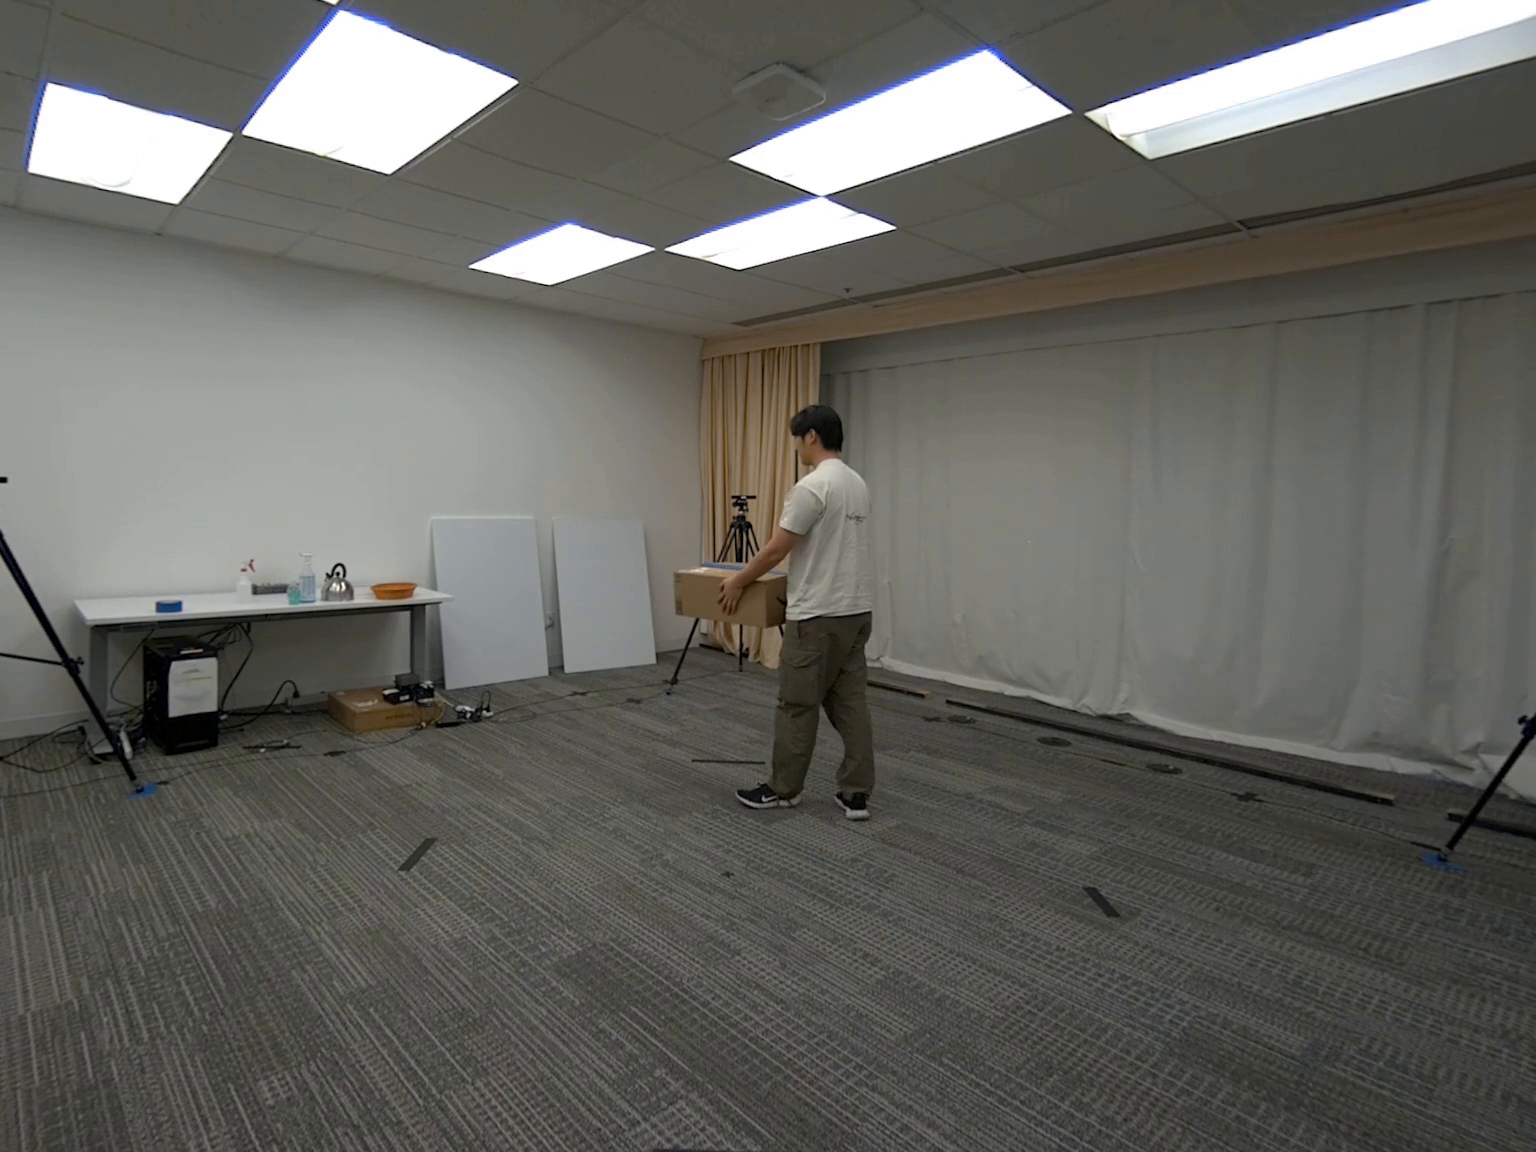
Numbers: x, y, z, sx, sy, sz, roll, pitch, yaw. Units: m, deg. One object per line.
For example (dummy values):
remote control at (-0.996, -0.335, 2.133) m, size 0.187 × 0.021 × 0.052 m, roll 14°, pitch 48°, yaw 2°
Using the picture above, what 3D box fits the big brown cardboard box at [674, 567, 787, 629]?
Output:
big brown cardboard box at (-0.109, 0.075, 4.034) m, size 0.604 × 0.232 × 0.409 m, roll 7°, pitch 11°, yaw 39°
